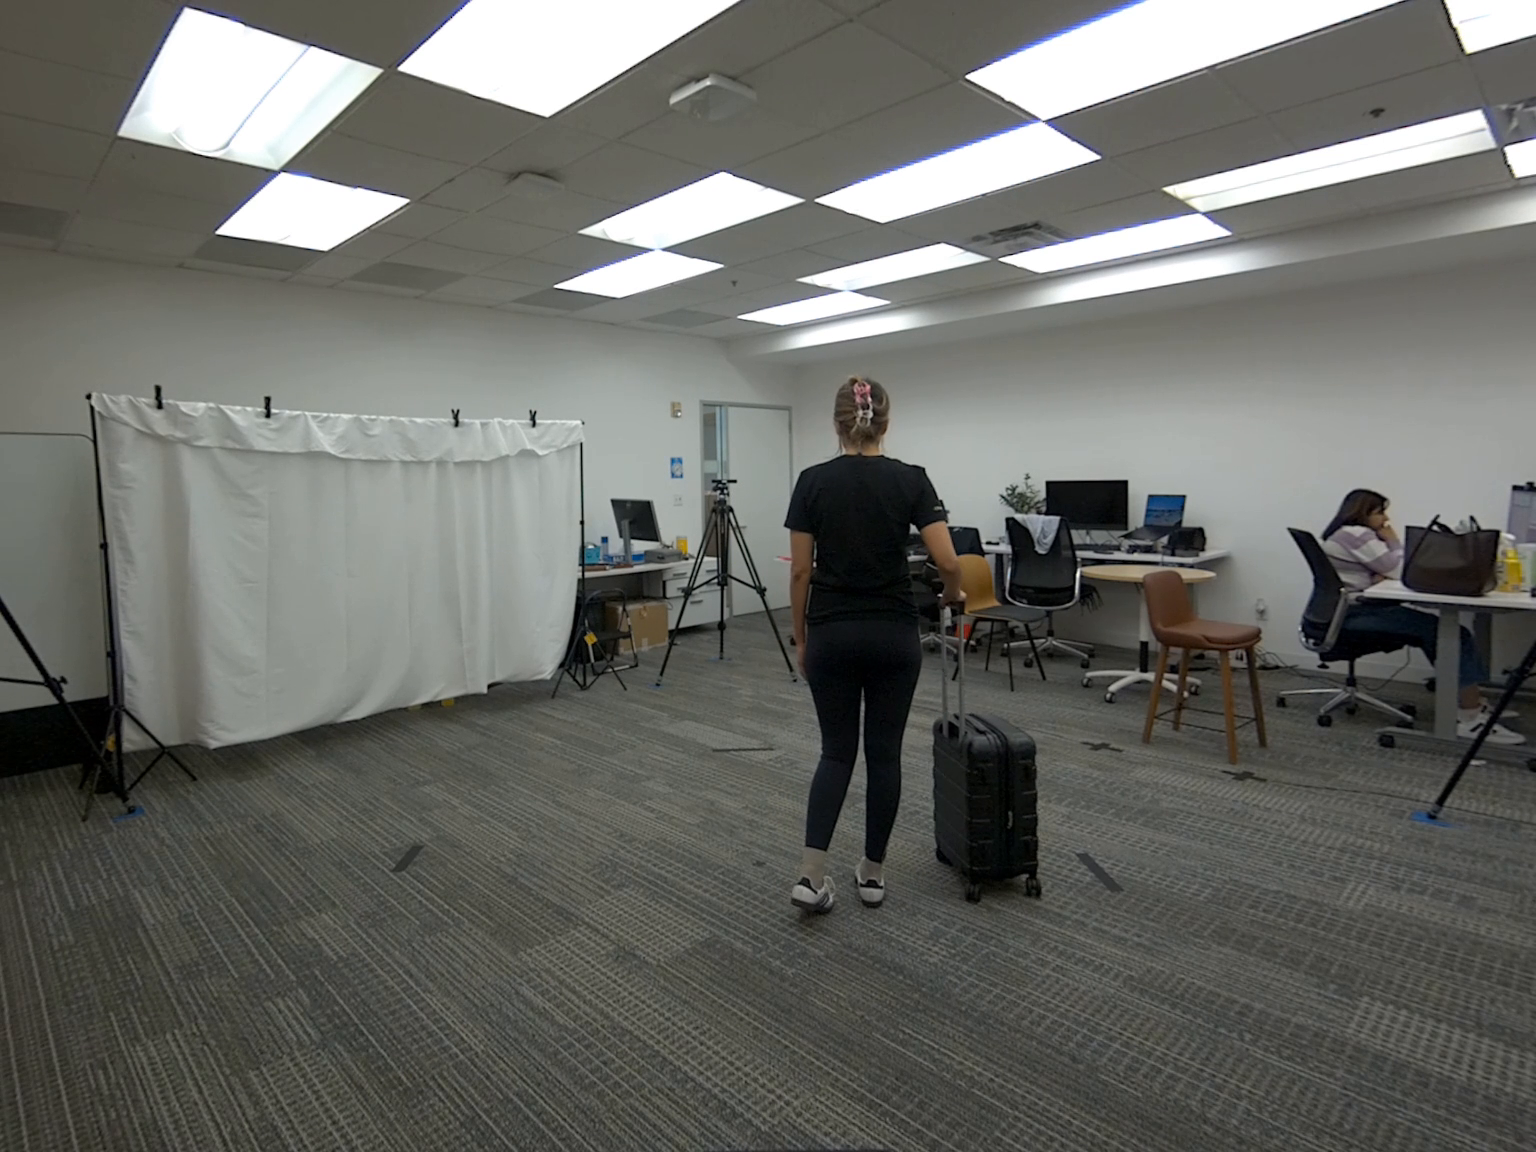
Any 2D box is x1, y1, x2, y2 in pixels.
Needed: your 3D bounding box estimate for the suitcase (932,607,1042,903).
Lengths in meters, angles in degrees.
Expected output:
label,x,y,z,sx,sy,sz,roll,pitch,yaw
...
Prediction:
label,x,y,z,sx,sy,sz,roll,pitch,yaw
suitcase,0.749,0.568,2.969,0.255,0.976,0.388,0,3,-8
